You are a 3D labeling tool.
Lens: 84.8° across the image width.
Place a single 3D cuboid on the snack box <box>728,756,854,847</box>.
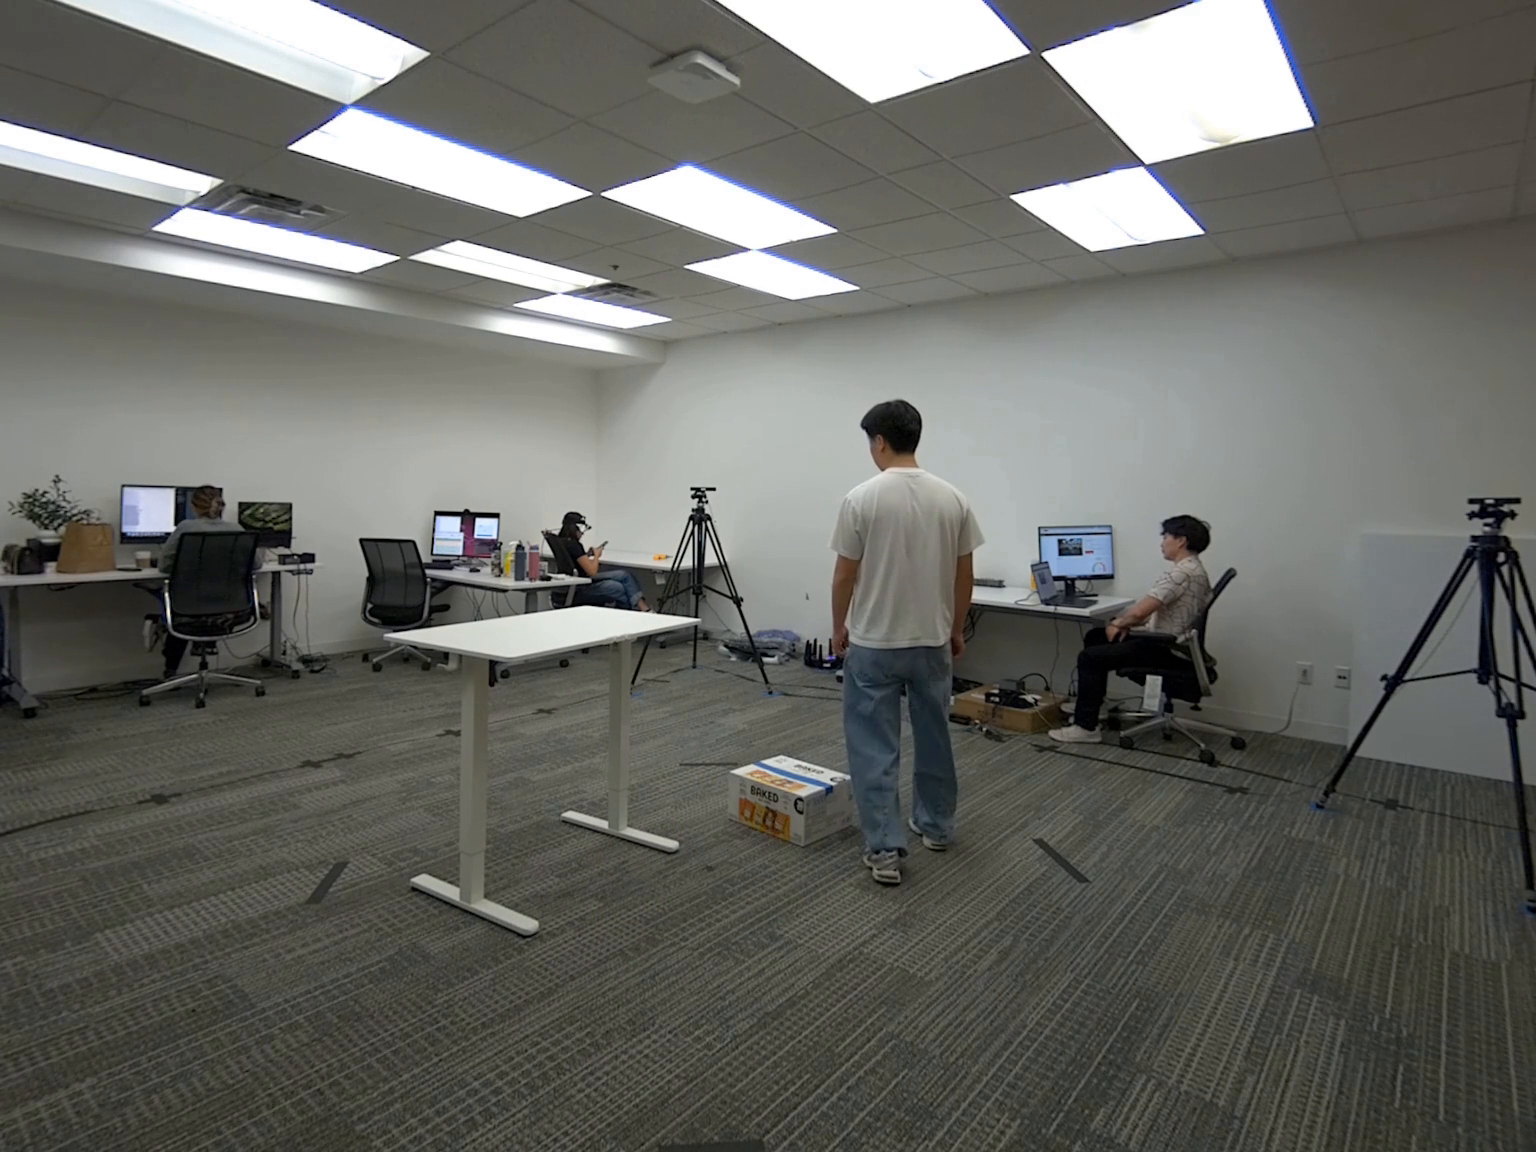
[{"bbox_3d":[0.086,0.927,3.558,0.419,0.205,0.330,6,7,42],"label":"snack box"}]
